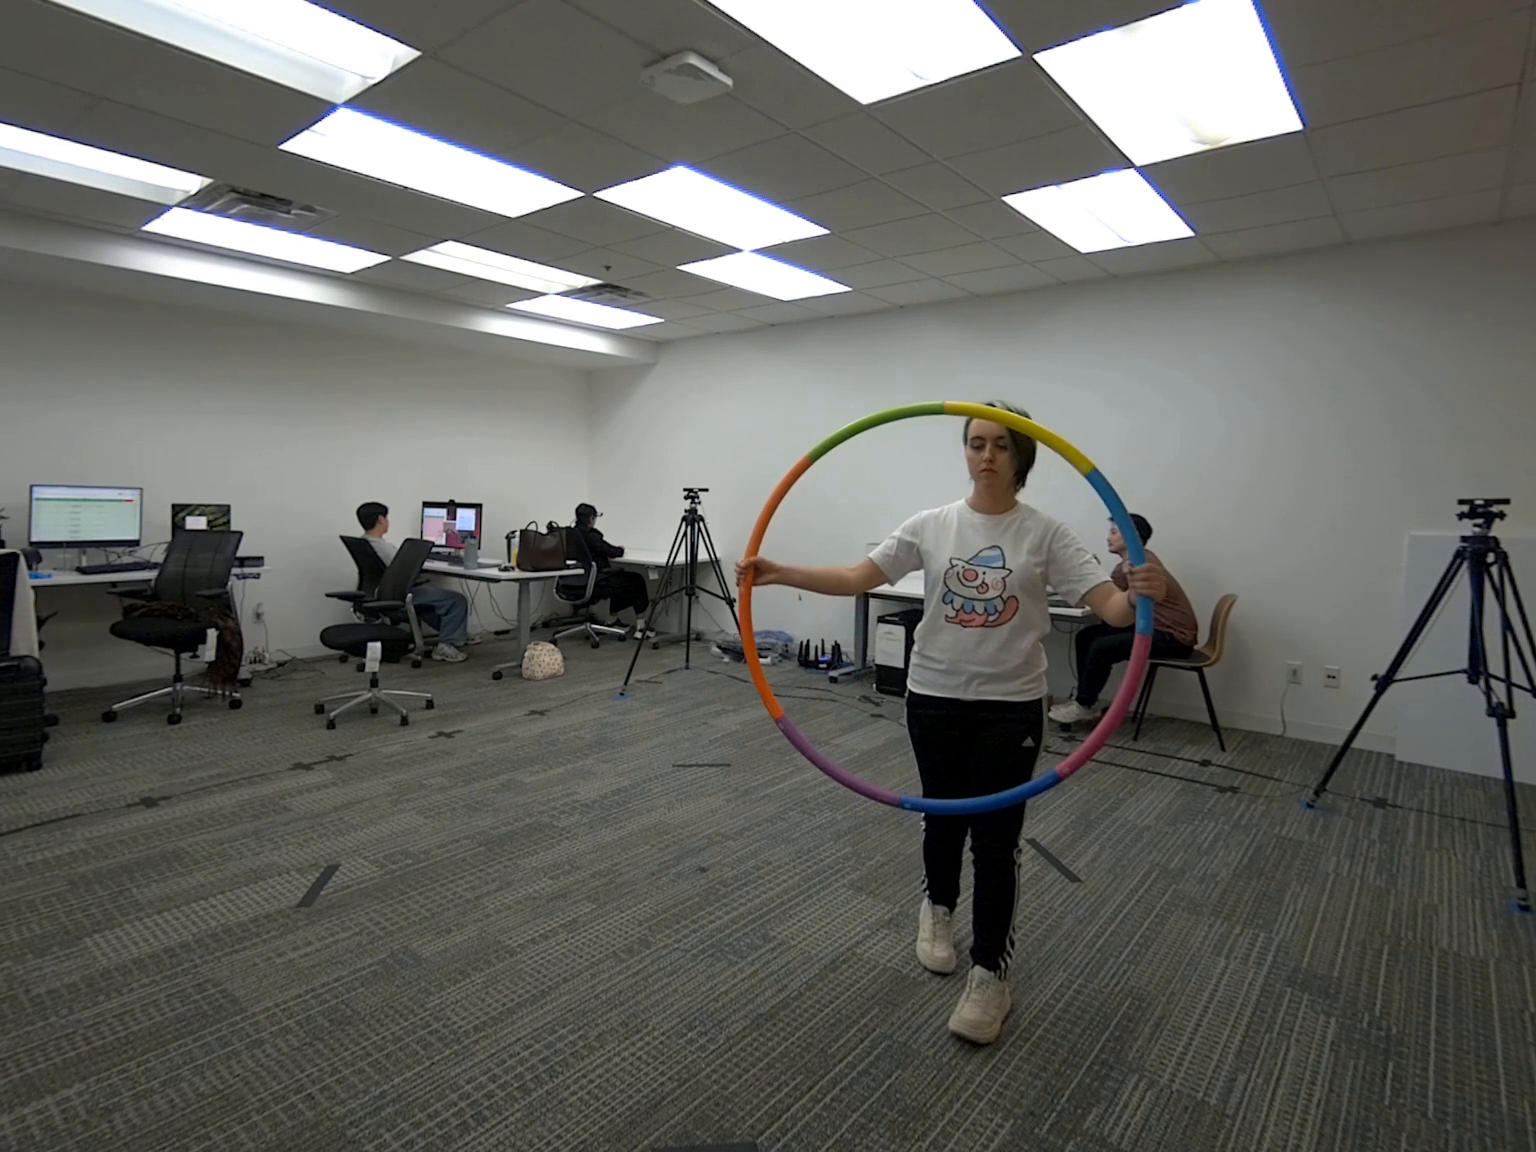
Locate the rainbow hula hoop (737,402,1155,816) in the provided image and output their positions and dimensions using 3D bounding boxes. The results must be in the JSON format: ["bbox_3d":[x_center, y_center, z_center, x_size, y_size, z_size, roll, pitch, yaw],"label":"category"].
[{"bbox_3d":[0.362,0.065,2.059,1.006,0.981,0.034,3,-4,28],"label":"rainbow hula hoop"}]
